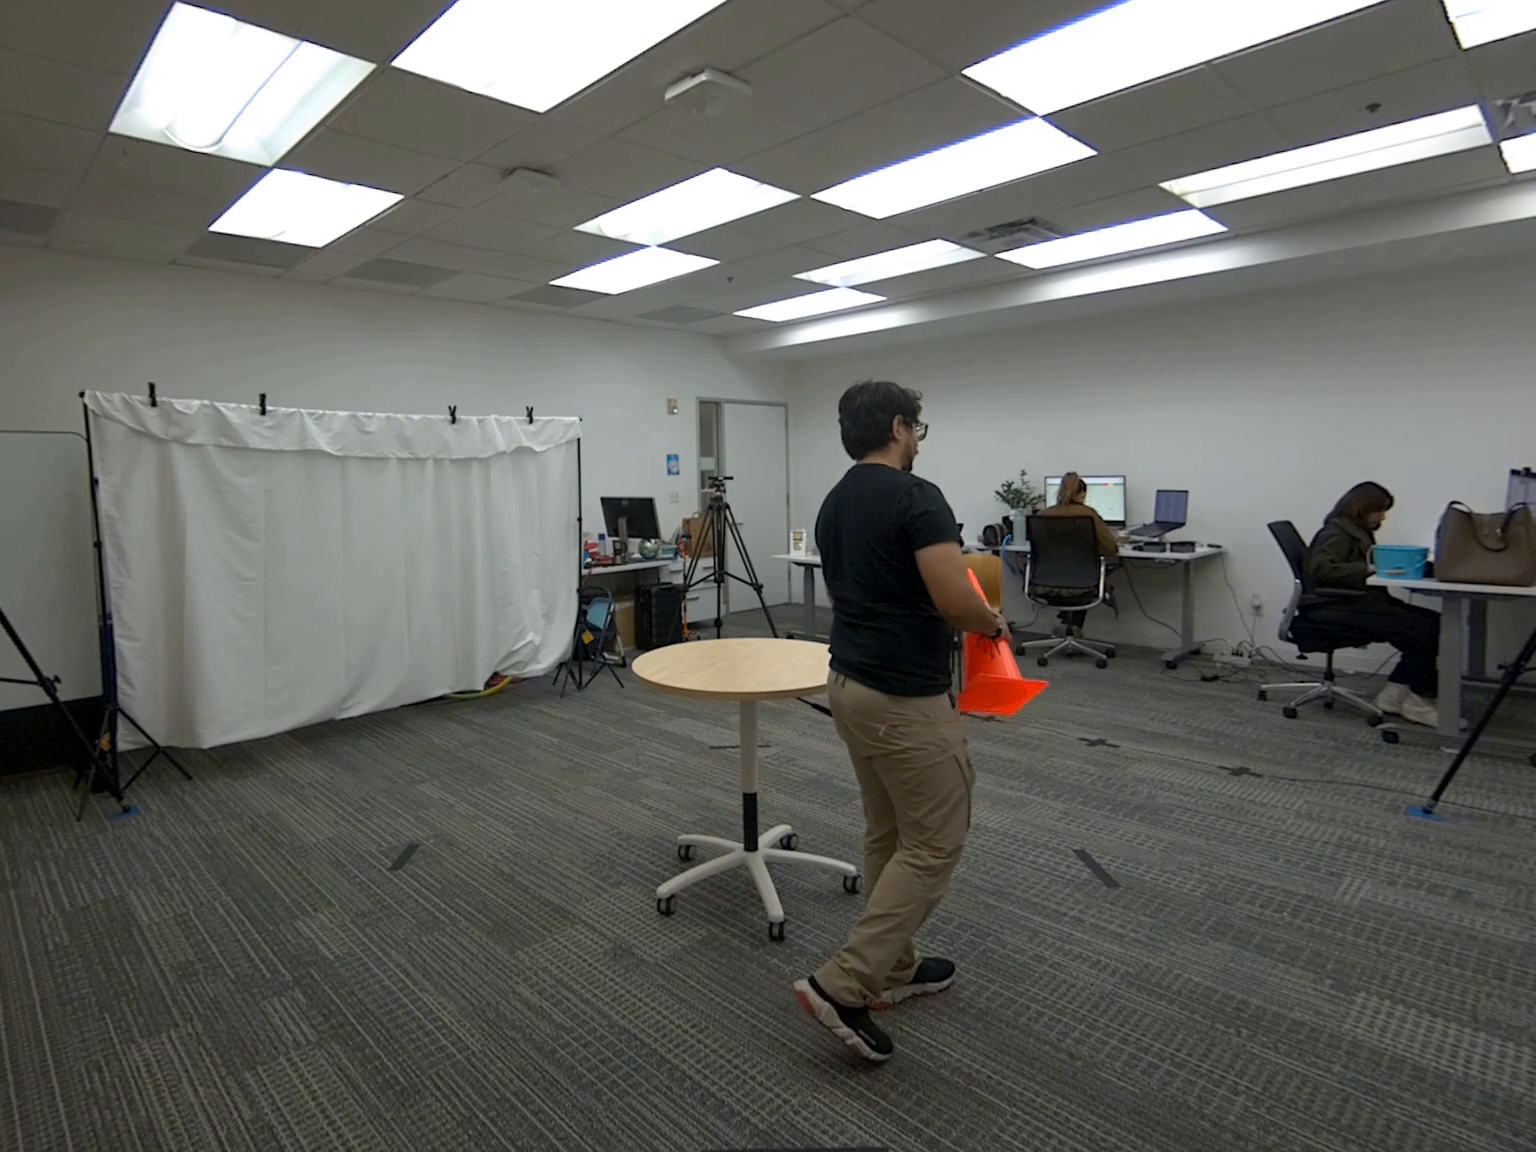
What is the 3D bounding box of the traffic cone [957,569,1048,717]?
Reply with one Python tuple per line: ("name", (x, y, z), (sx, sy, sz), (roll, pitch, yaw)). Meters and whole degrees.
("traffic cone", (0.576, 0.151, 2.279), (0.202, 0.394, 0.201), (8, -36, -14))
